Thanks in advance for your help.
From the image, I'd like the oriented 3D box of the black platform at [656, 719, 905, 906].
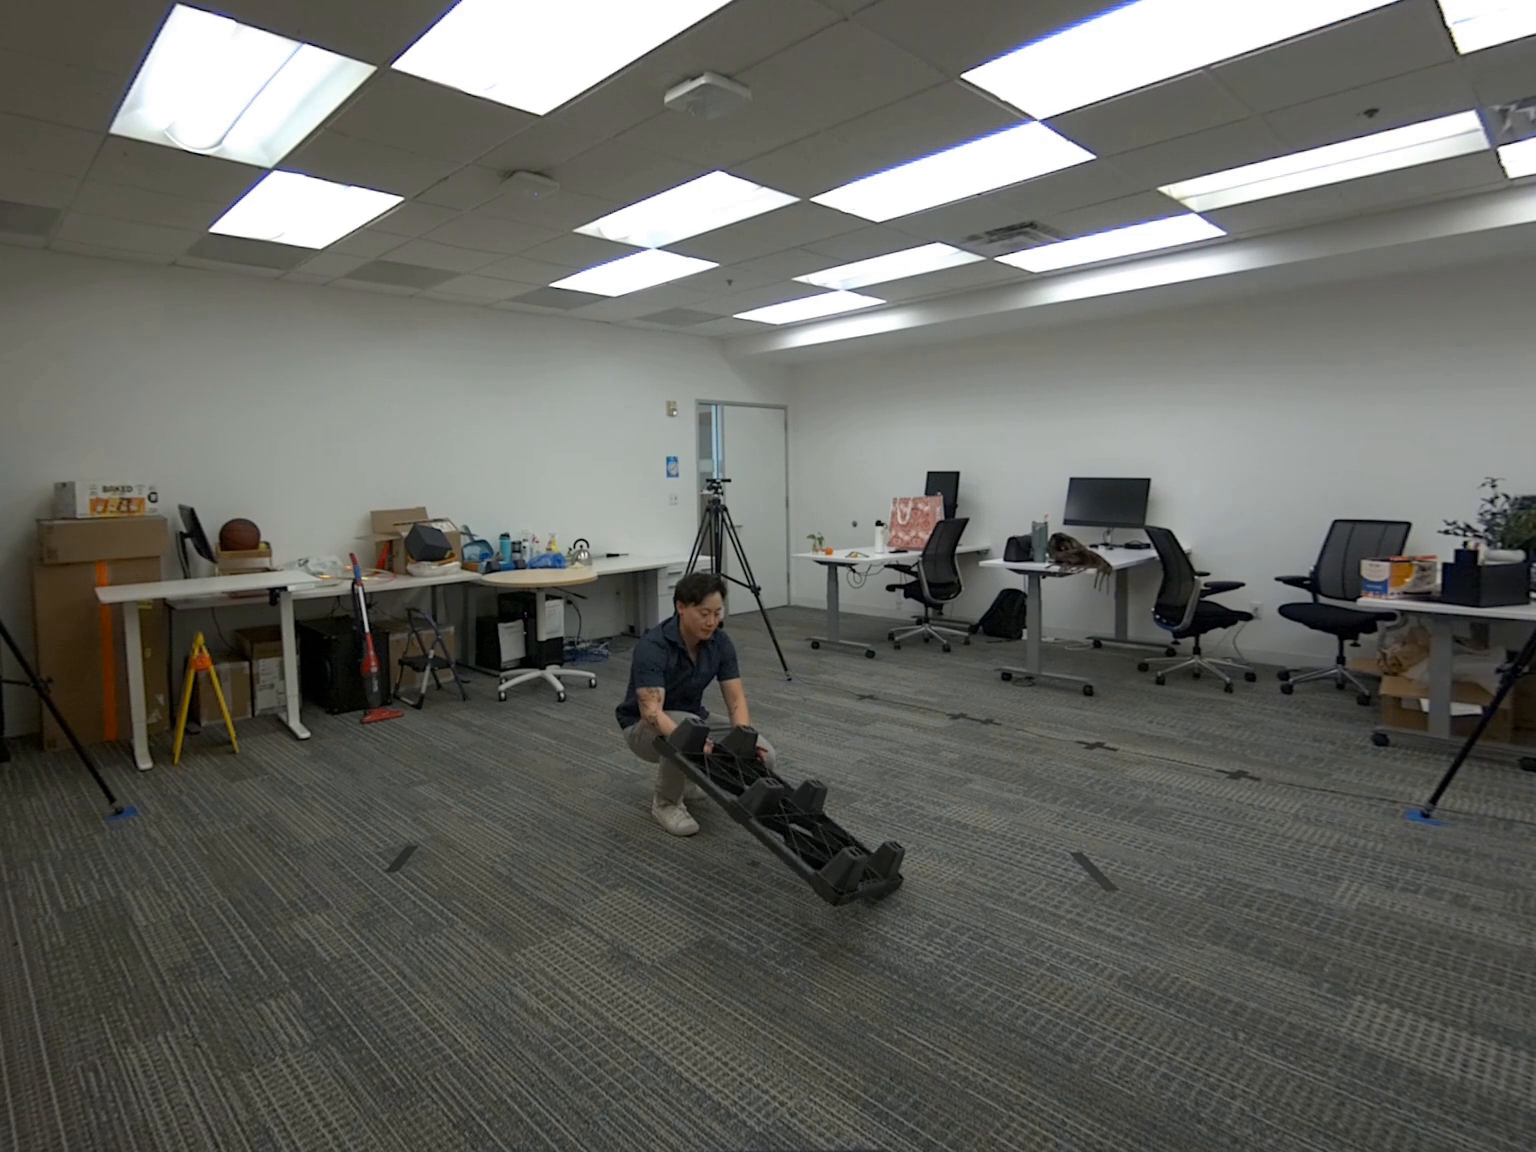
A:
[{"bbox_3d":[0.056,0.759,2.886,0.835,0.143,0.584,33,4,32],"label":"black platform"}]
